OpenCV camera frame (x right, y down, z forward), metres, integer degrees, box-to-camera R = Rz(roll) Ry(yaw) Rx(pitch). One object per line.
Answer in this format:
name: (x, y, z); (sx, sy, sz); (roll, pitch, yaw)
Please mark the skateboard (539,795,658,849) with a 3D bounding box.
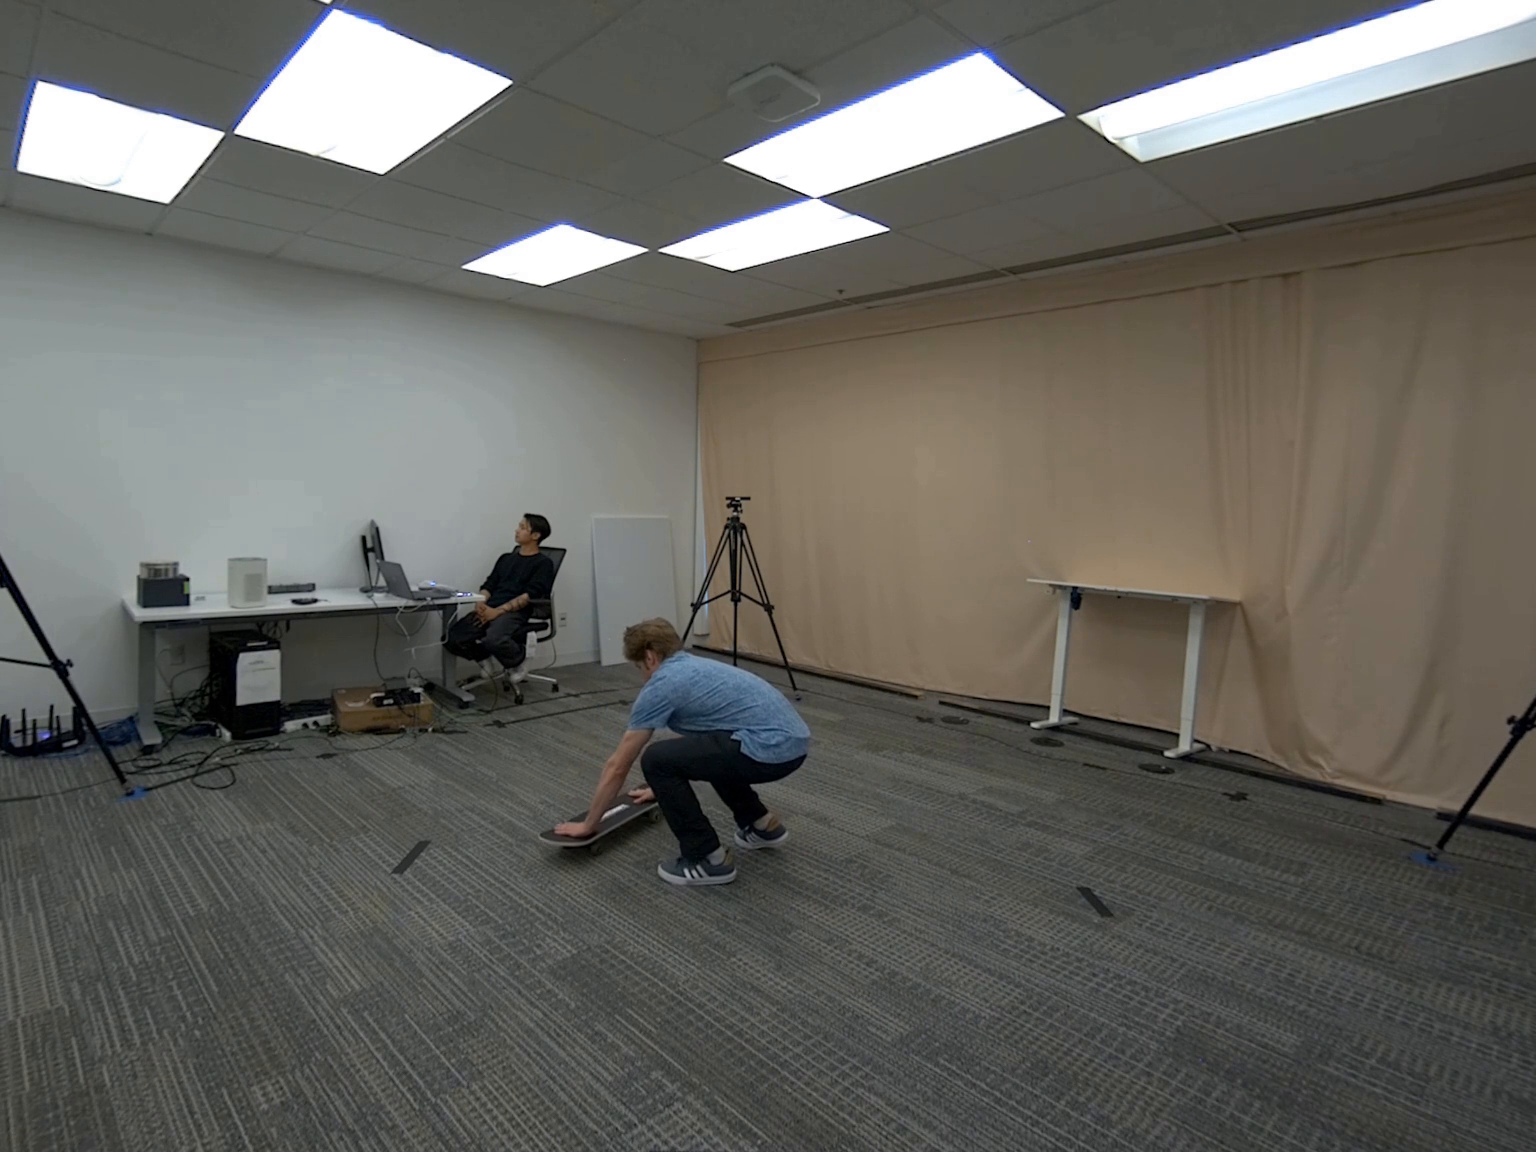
skateboard: (-0.649, 1.010, 3.462); (0.197, 0.110, 0.771); (1, 5, 28)
